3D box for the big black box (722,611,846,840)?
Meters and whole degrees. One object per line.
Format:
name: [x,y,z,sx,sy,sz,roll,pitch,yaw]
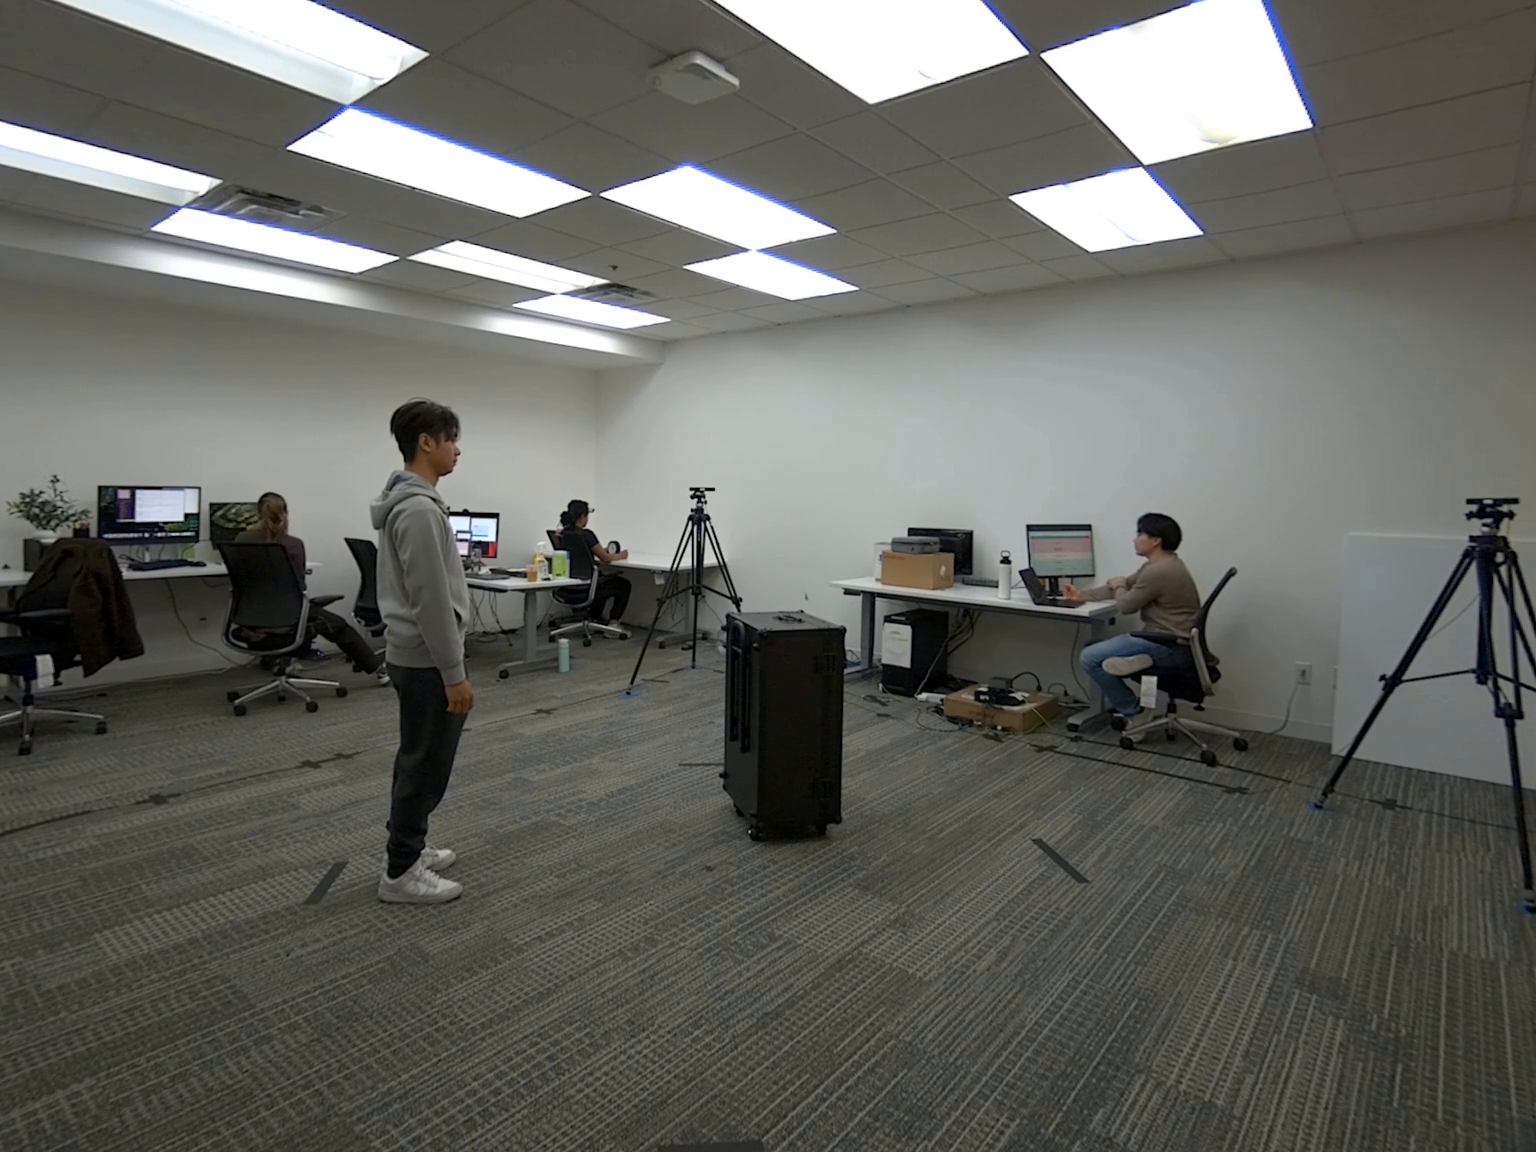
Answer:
big black box: [0.036,0.542,3.550,0.389,0.859,0.532,1,3,-18]
